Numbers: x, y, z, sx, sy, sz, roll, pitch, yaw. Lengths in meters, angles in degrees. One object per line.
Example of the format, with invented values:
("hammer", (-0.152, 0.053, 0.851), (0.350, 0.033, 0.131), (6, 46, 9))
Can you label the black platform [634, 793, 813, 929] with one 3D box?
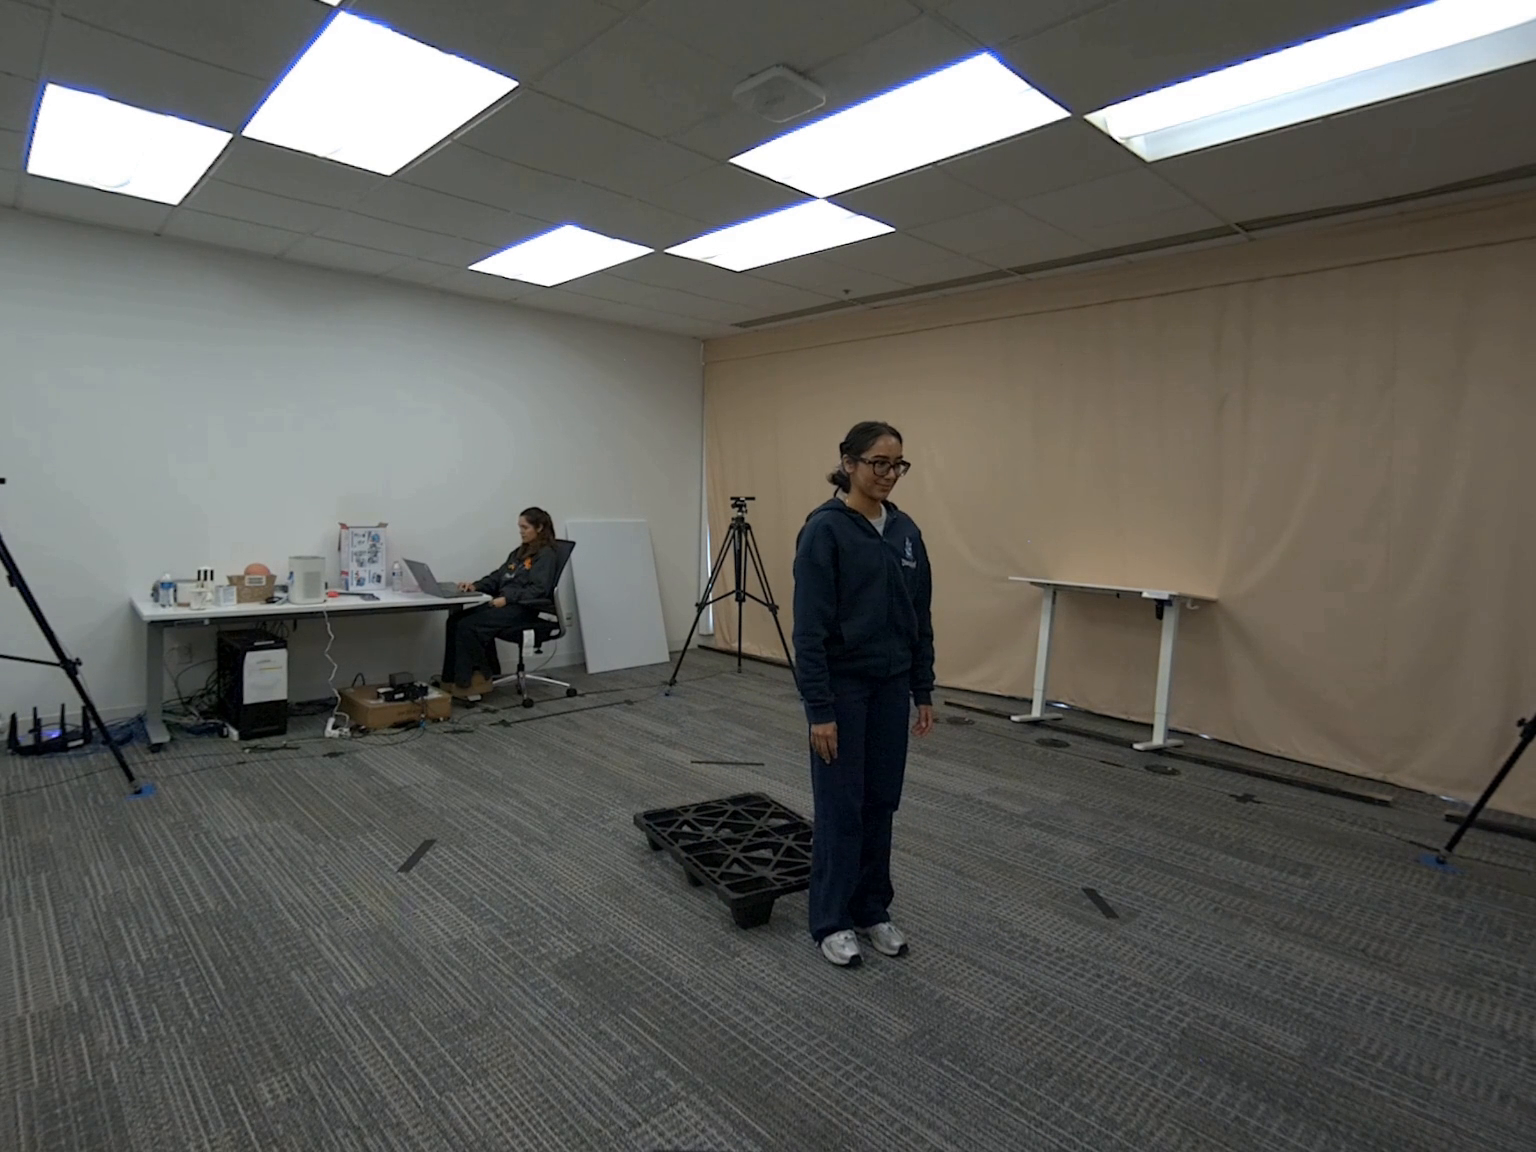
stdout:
("black platform", (-0.083, 1.037, 3.148), (0.592, 0.143, 0.825), (-1, 6, -32))
